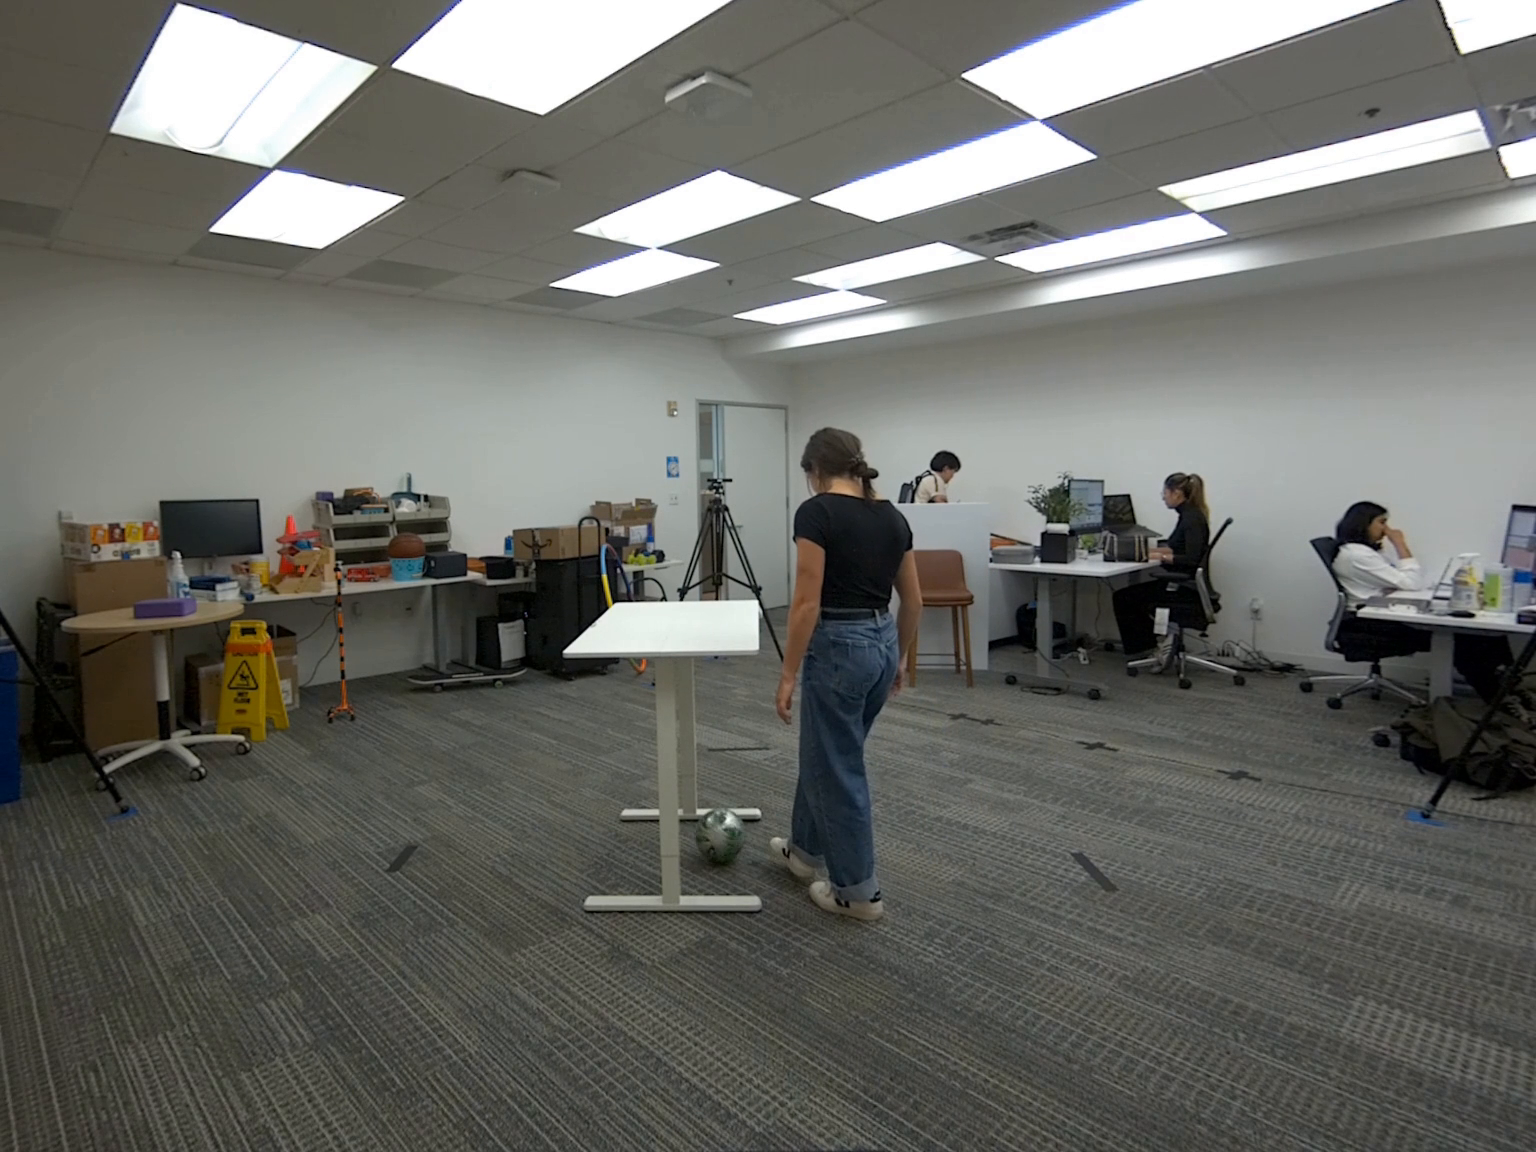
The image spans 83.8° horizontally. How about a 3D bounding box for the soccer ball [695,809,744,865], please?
[{"bbox_3d":[-0.161,0.948,3.133,0.187,0.187,0.188,-1,5,-2],"label":"soccer ball"}]
